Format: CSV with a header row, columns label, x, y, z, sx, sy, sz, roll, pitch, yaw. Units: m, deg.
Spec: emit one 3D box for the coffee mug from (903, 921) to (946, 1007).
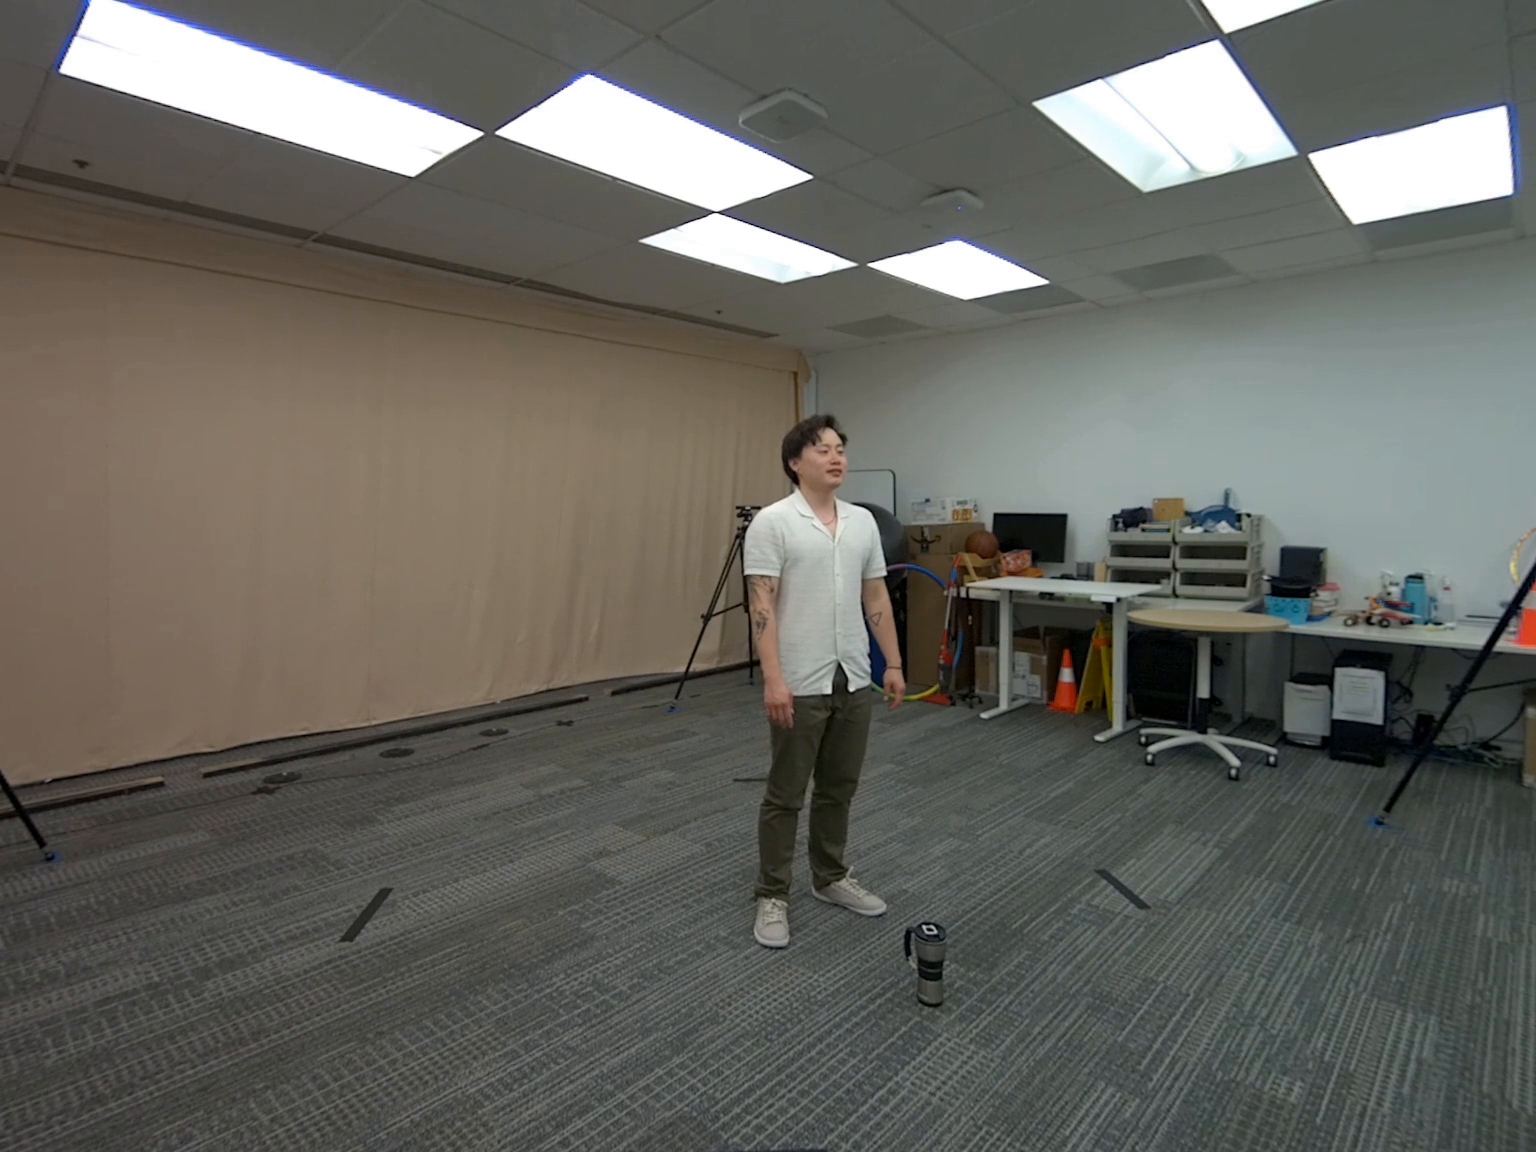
label,x,y,z,sx,sy,sz,roll,pitch,yaw
coffee mug,0.460,1.096,2.383,0.086,0.202,0.125,-3,8,-19
